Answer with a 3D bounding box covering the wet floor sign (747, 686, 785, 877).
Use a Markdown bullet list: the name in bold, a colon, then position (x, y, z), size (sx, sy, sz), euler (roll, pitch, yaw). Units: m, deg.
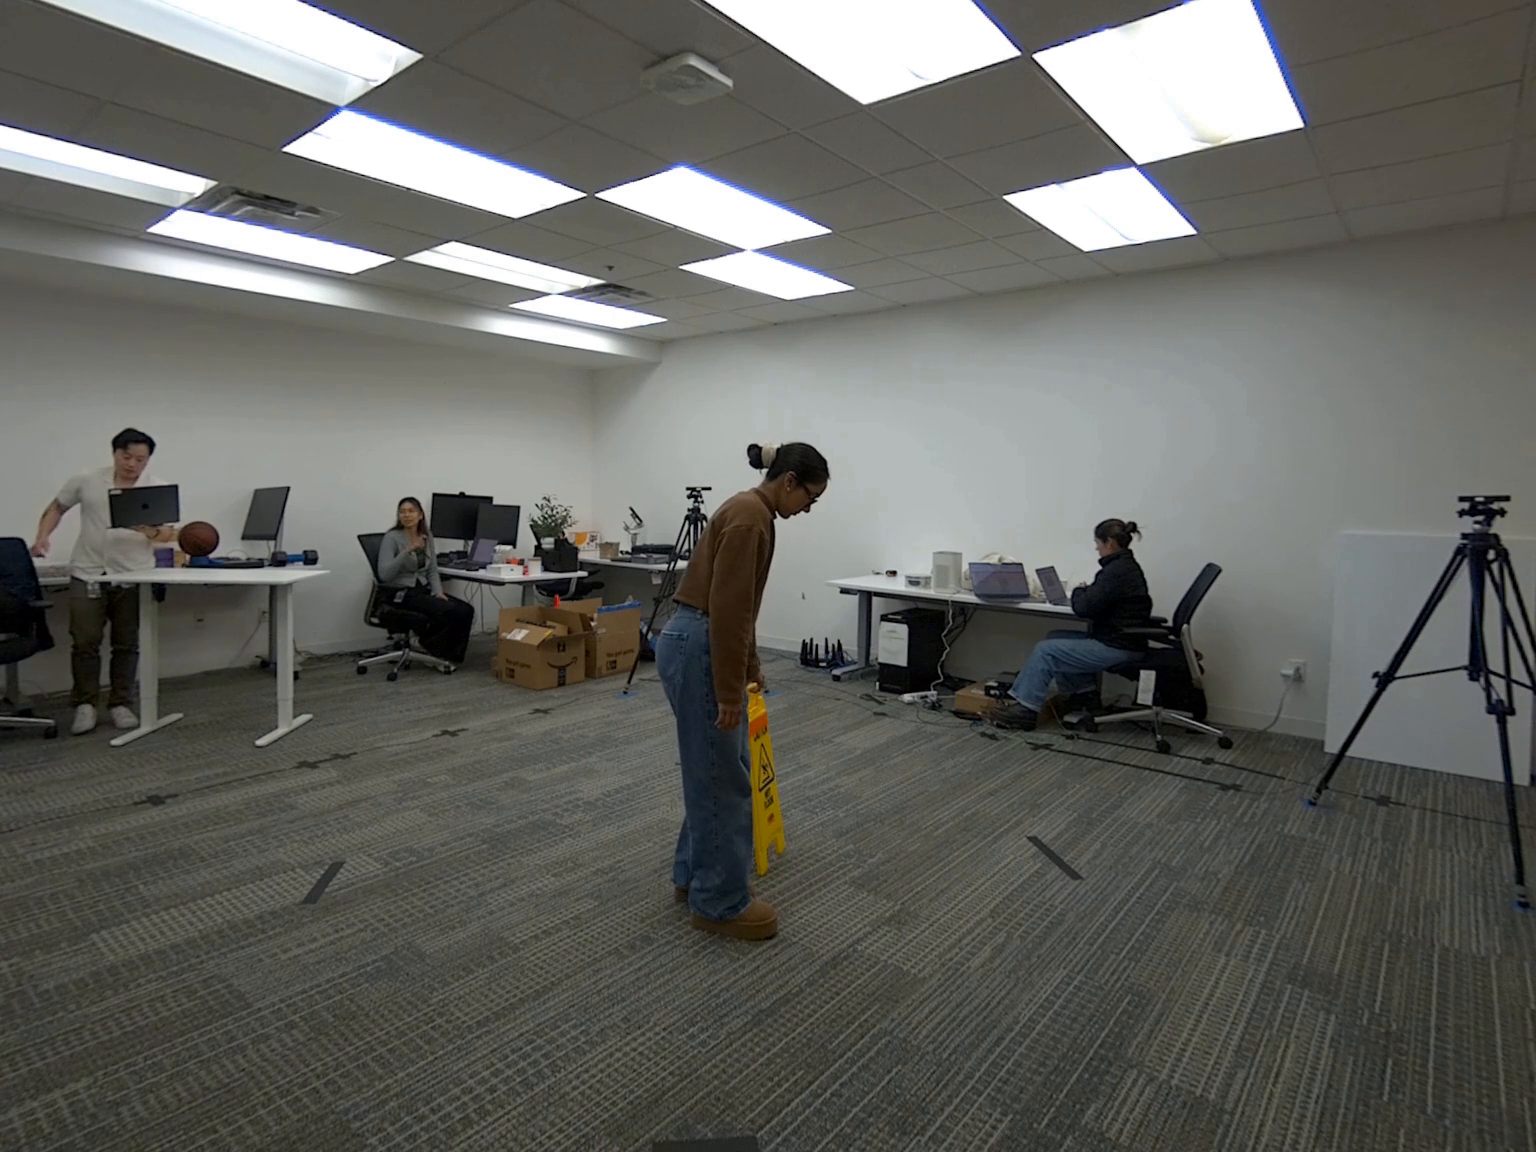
- **wet floor sign**: position (-0.085, 0.731, 3.204), size (0.296, 0.644, 0.277), euler (5, 4, 20)
